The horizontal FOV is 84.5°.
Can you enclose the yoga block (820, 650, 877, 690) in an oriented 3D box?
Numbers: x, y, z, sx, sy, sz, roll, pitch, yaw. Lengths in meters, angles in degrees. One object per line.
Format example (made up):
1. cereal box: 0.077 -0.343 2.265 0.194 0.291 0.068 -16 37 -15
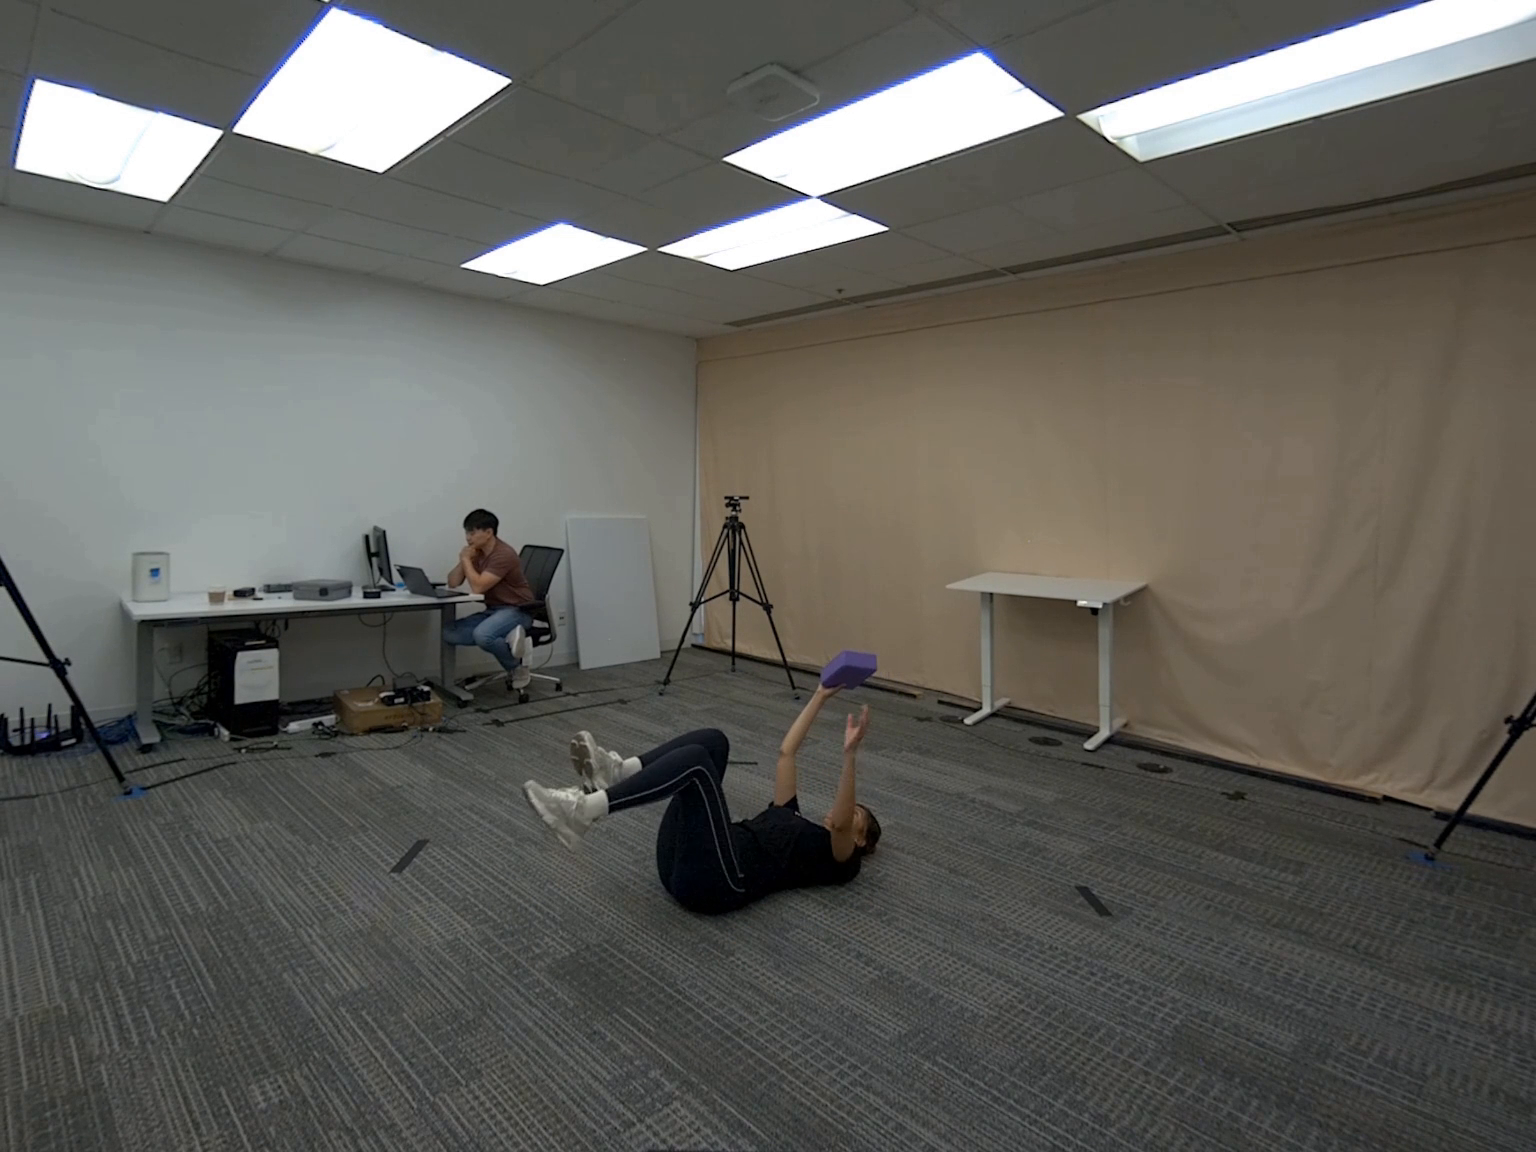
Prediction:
1. yoga block: 0.319 0.378 3.363 0.147 0.078 0.228 10 -30 -15
